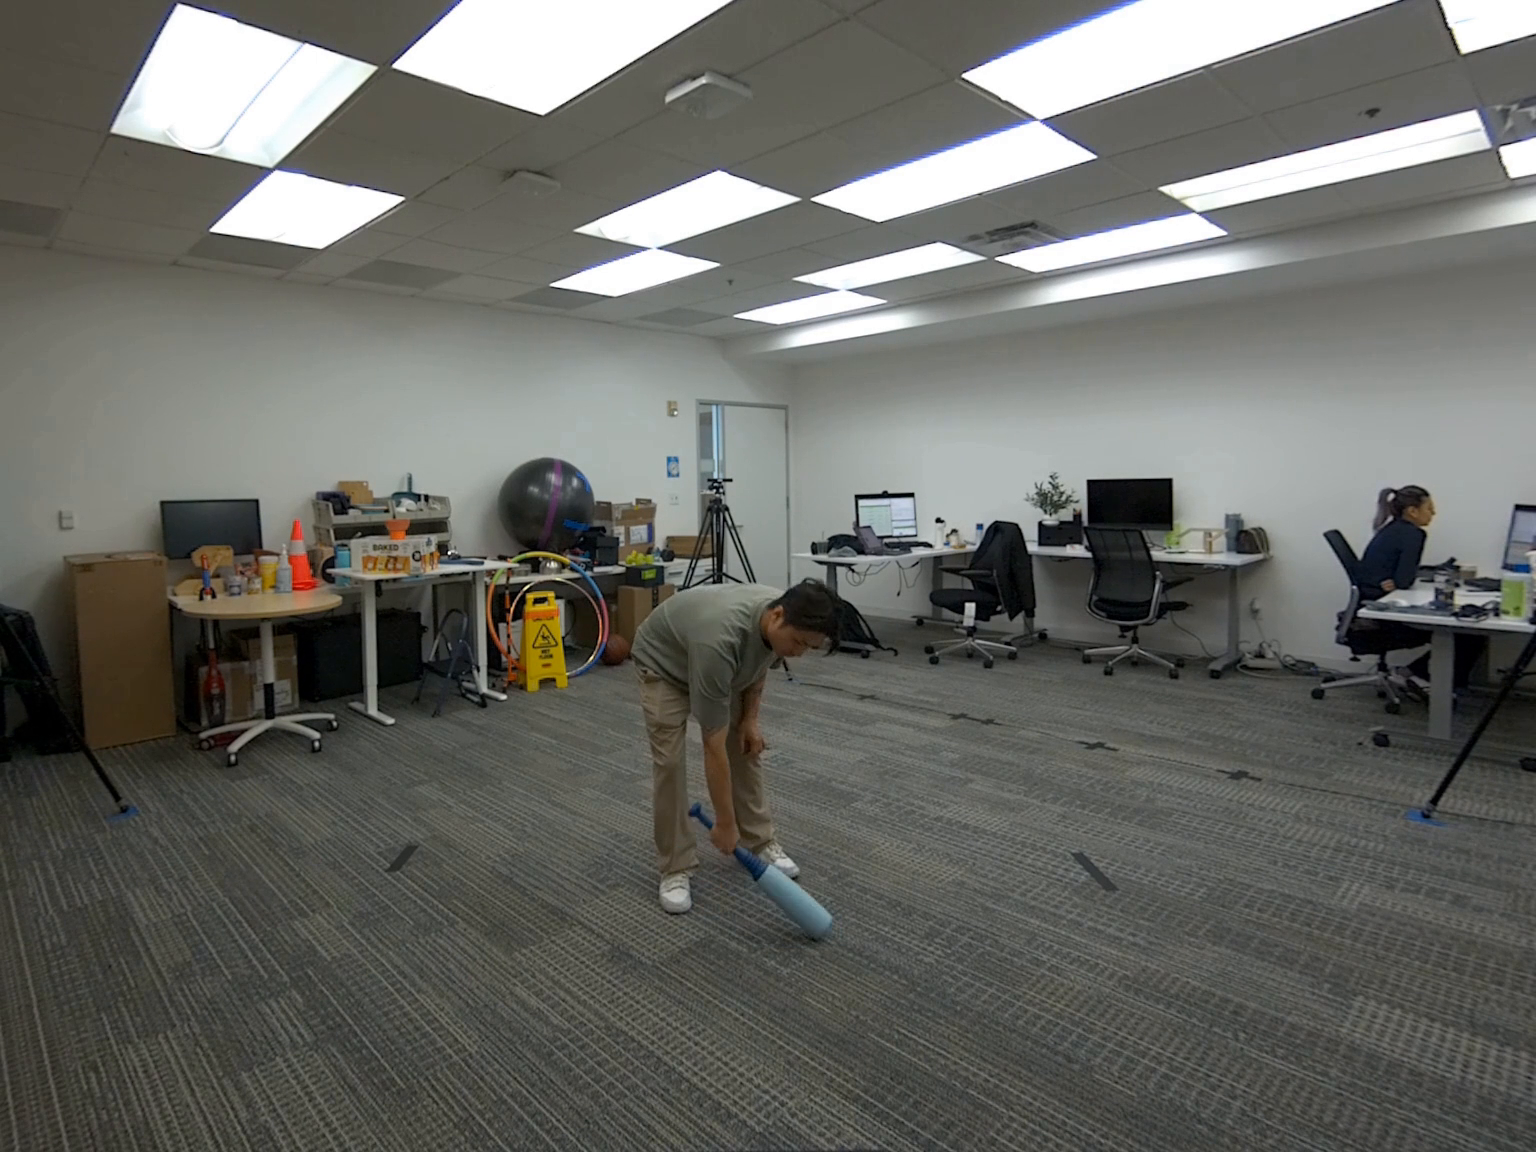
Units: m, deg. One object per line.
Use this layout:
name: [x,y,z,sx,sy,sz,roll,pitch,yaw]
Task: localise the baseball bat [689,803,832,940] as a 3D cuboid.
baseball bat: [-0.026,0.894,2.642,0.551,0.089,0.088,39,14,11]
